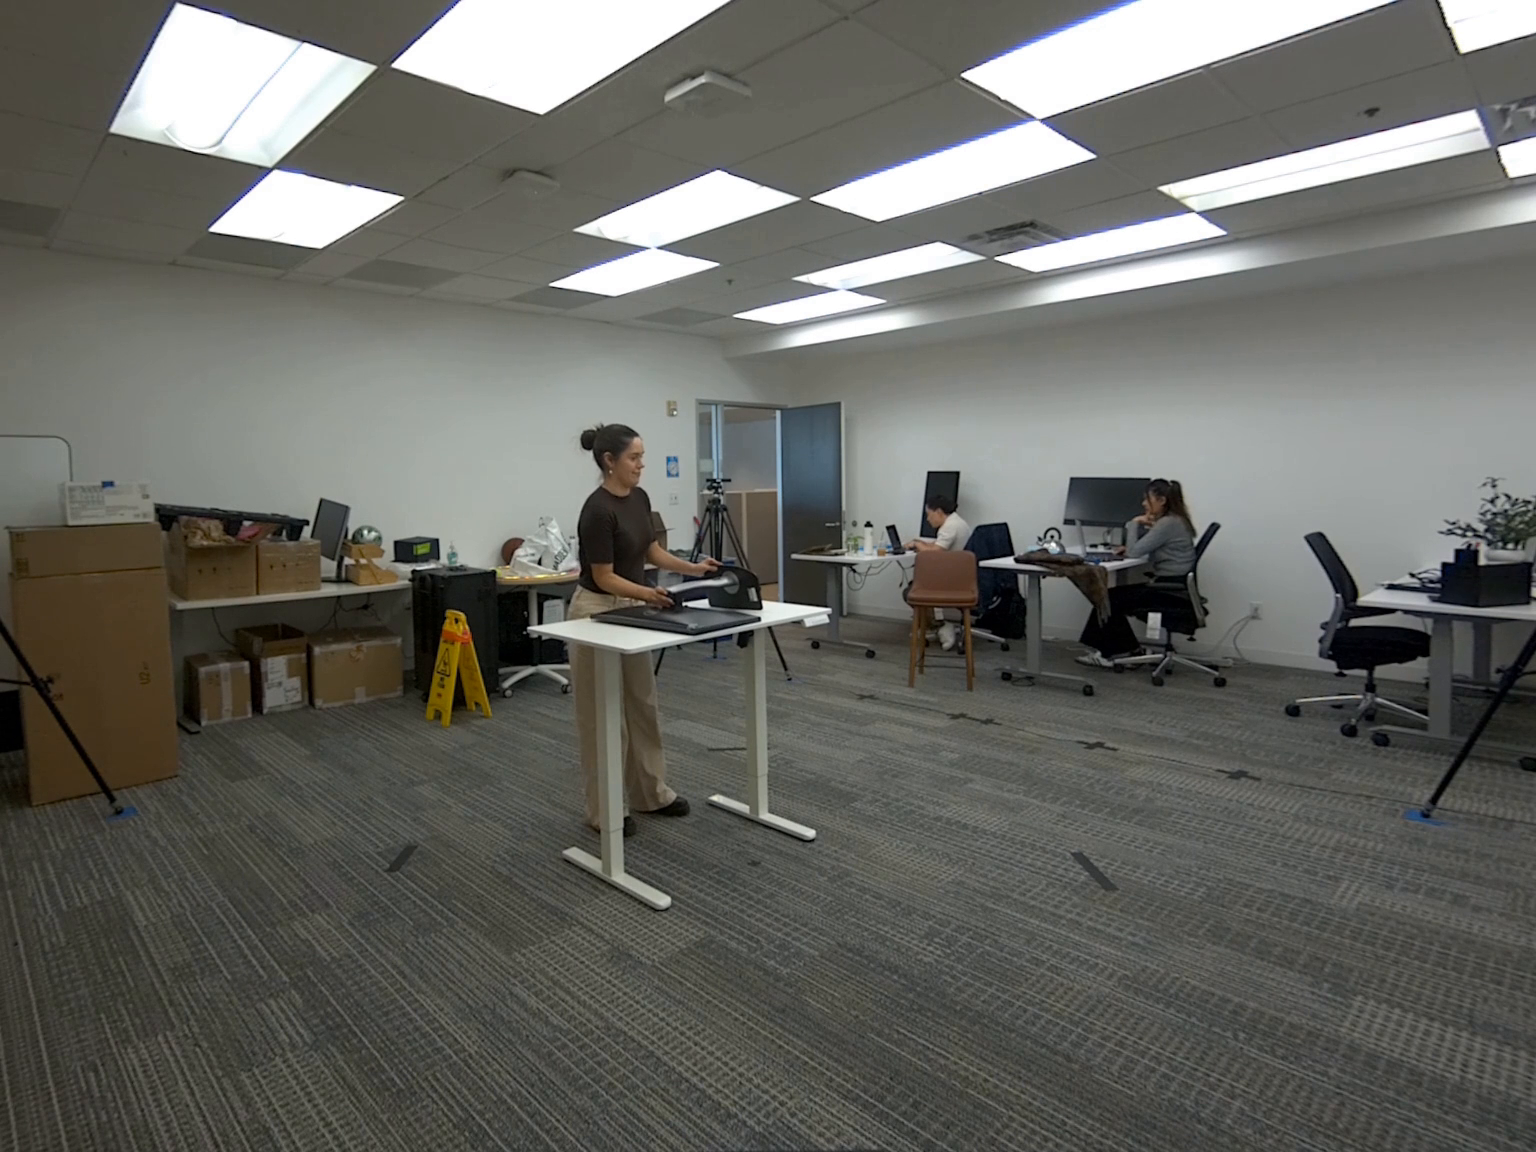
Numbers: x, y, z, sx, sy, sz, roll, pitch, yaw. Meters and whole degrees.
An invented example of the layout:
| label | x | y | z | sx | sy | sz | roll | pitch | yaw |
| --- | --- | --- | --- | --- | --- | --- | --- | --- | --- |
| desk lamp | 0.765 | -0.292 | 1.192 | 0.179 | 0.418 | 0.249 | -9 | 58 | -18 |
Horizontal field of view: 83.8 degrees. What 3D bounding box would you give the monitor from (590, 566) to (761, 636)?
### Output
| label | x | y | z | sx | sy | sz | roll | pitch | yaw |
| --- | --- | --- | --- | --- | --- | --- | --- | --- | --- |
| monitor | -0.287 | 0.109 | 3.166 | 0.555 | 0.185 | 0.513 | 1 | 15 | 41 |
